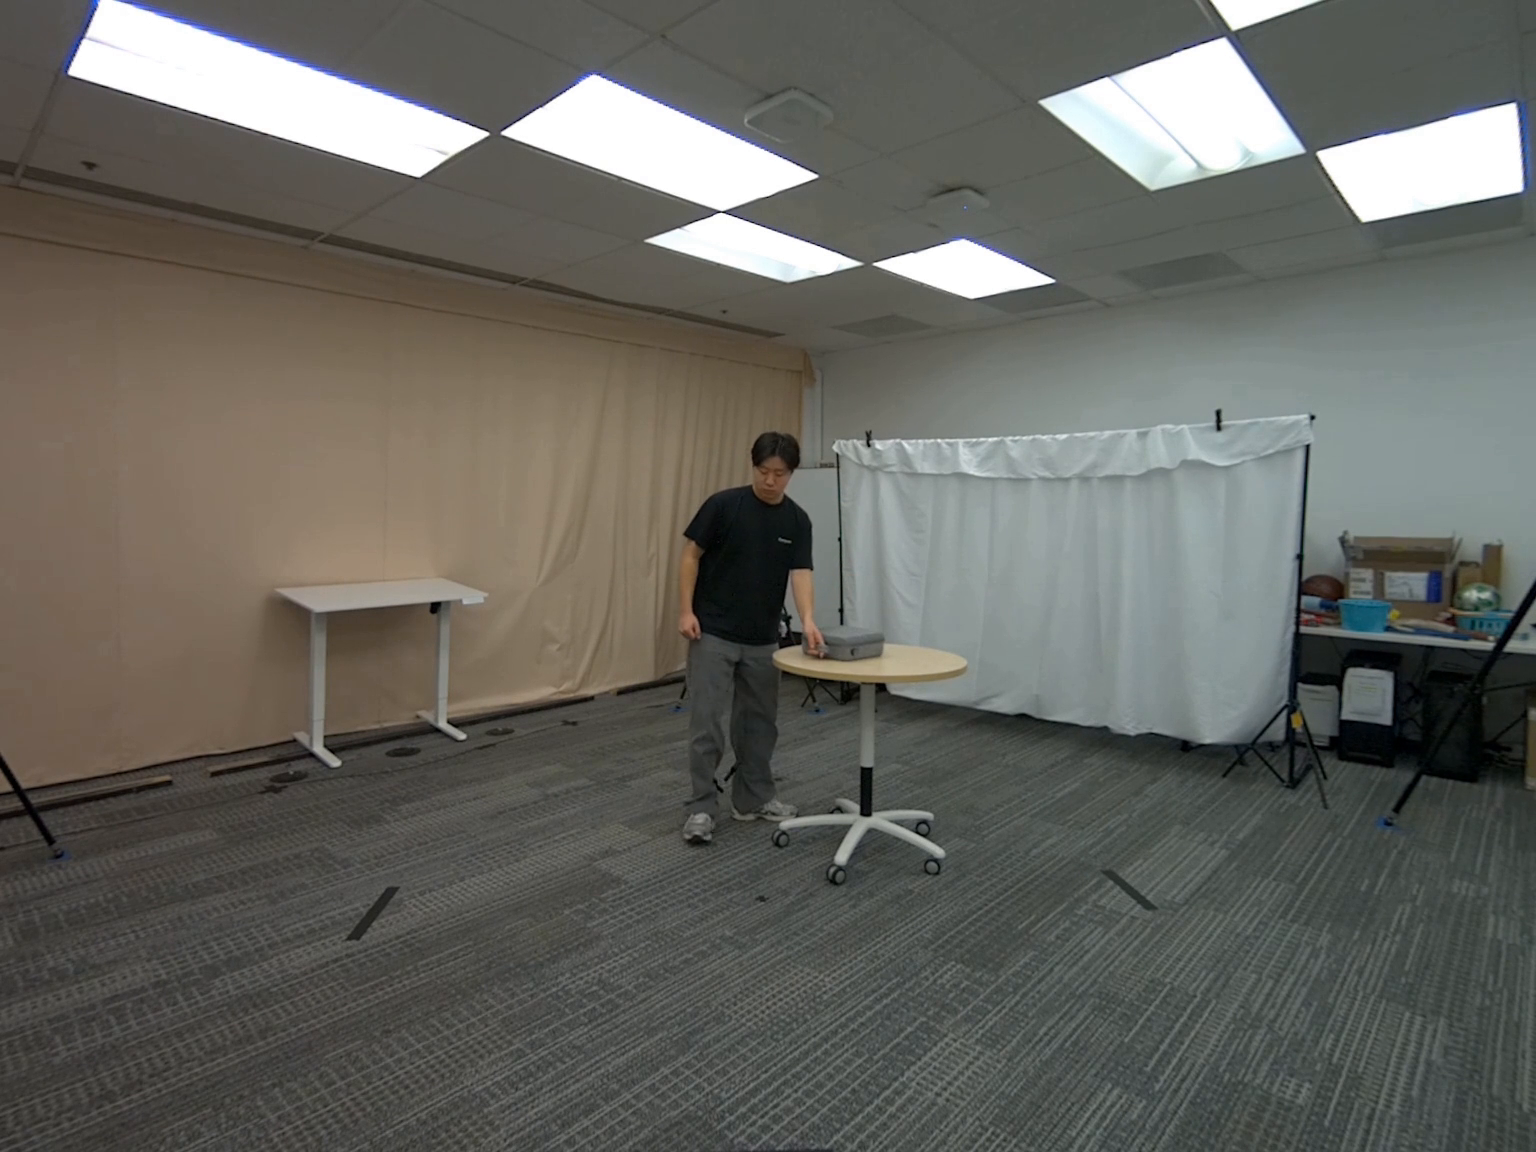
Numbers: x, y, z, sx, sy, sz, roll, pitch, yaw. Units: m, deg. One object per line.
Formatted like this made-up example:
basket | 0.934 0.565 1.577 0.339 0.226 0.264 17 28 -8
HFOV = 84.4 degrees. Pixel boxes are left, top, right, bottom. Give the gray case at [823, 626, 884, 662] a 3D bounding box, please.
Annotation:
gray case | 0.304 0.270 3.417 0.278 0.103 0.272 -4 6 -41
